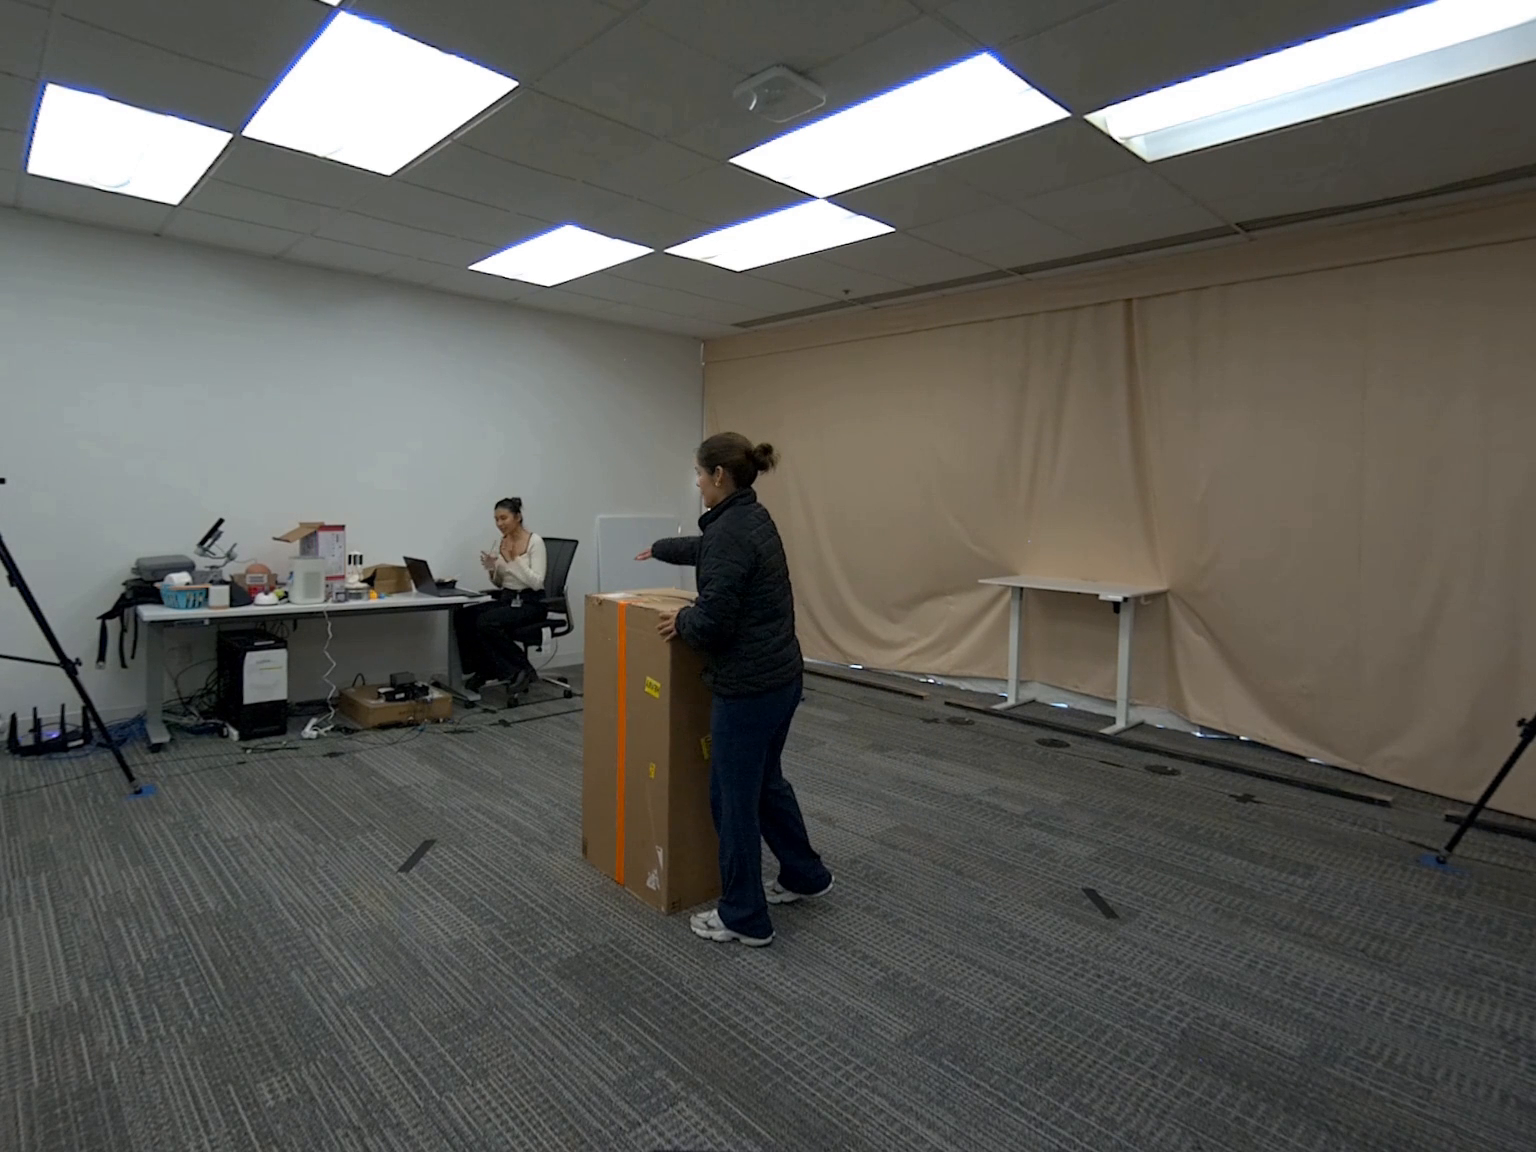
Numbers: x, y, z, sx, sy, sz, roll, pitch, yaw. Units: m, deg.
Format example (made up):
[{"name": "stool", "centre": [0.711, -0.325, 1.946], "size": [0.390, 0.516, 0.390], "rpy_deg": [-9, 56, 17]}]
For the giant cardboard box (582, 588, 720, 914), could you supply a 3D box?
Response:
[{"name": "giant cardboard box", "centre": [-0.371, 0.594, 3.111], "size": [0.416, 1.023, 0.592], "rpy_deg": [-2, 5, -41]}]
